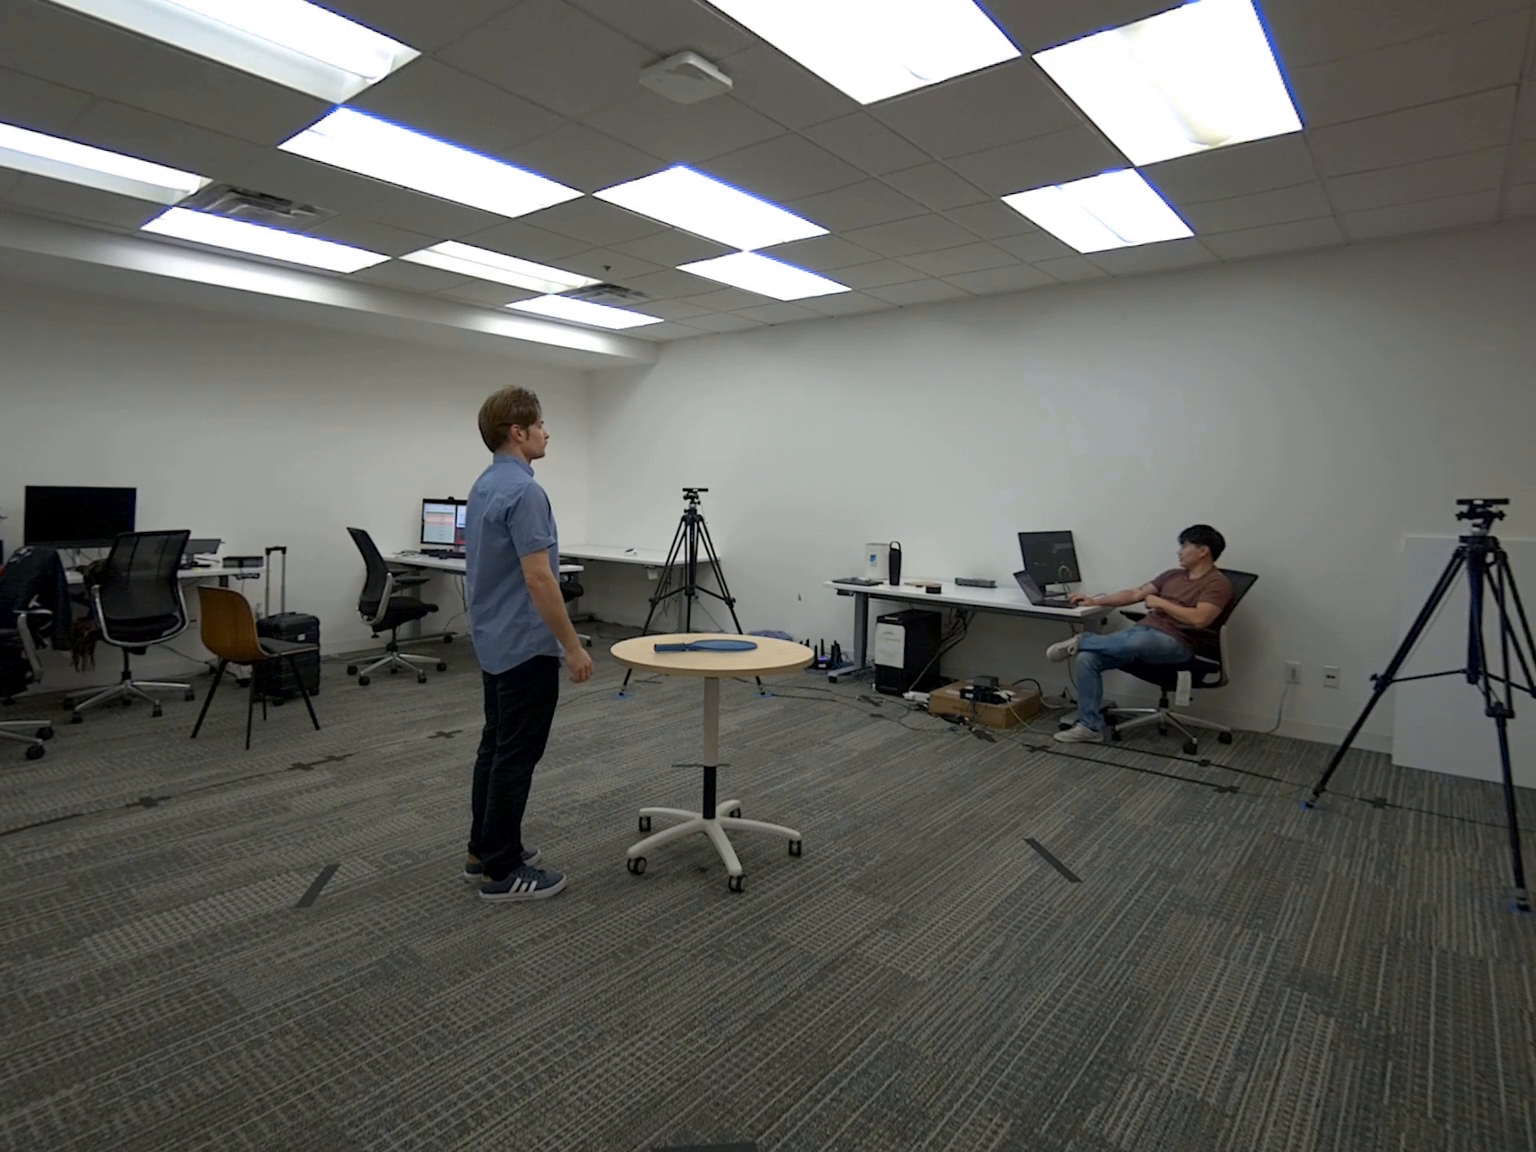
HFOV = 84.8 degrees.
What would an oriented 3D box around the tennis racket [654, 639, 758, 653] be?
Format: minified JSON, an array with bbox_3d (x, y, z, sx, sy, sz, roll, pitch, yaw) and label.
[{"bbox_3d":[-0.245,0.268,3.239,0.421,0.031,0.220,0,6,-29],"label":"tennis racket"}]
